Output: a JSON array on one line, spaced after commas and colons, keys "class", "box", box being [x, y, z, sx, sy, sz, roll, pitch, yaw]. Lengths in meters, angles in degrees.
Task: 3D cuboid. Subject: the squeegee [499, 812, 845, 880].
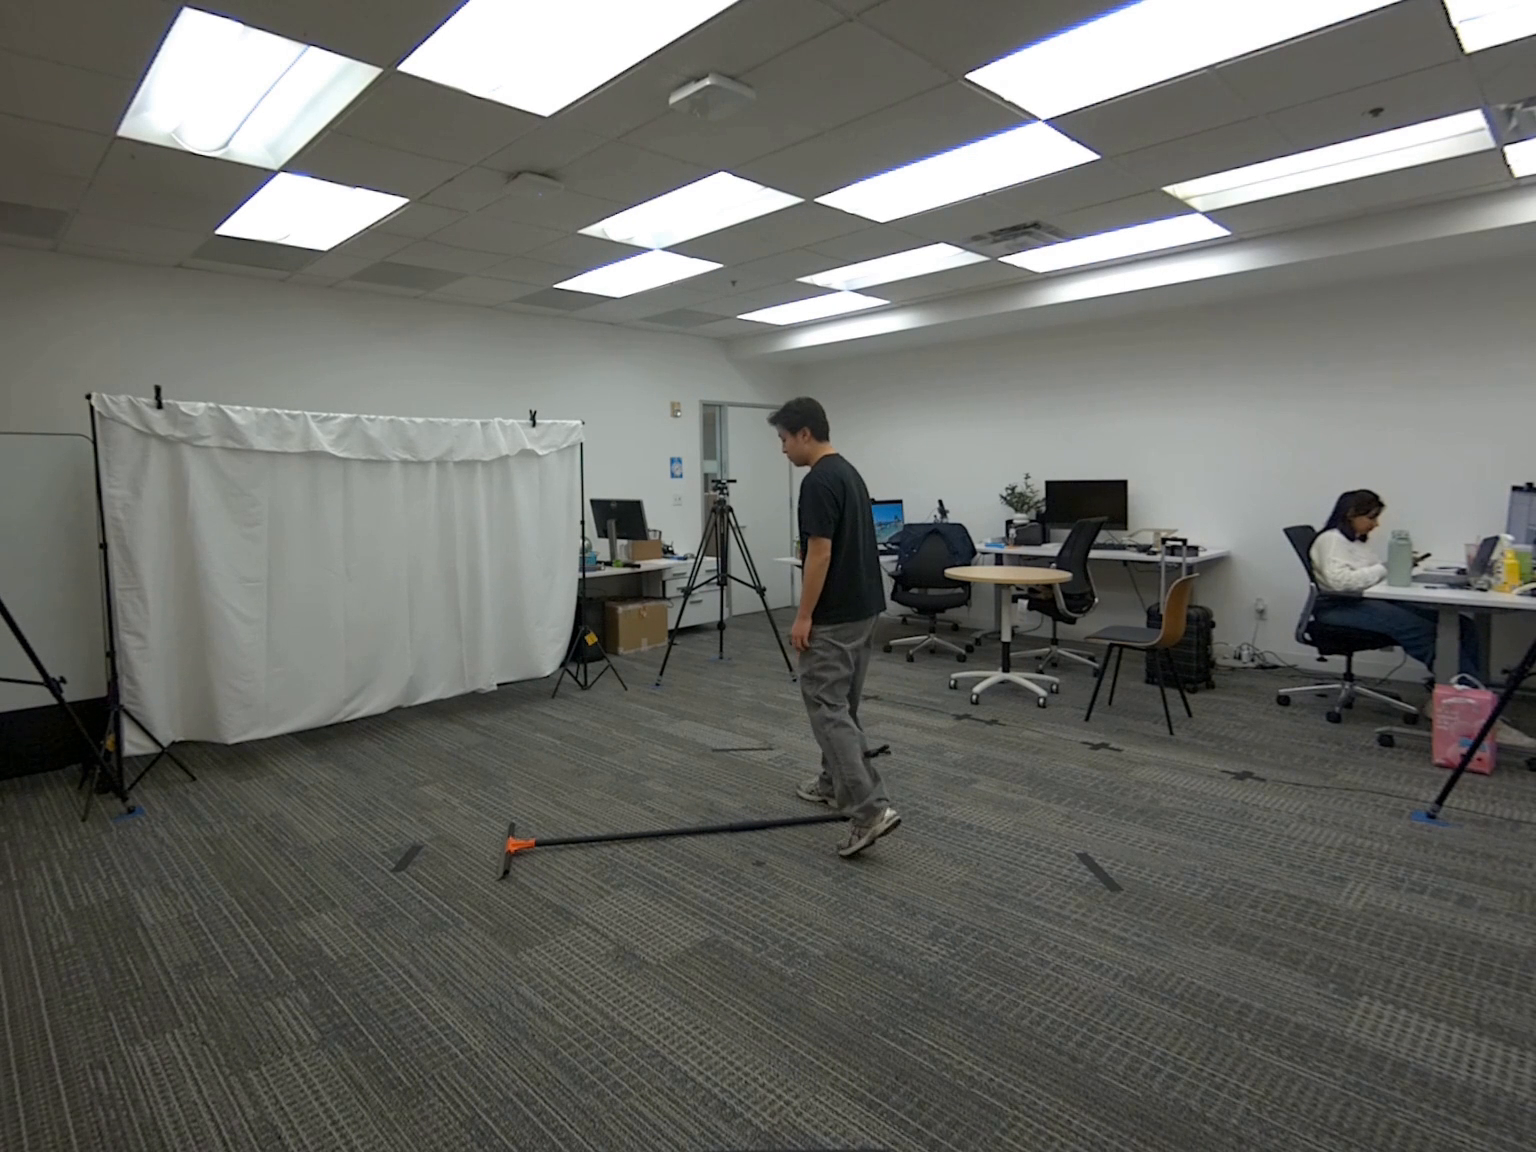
[{"class": "squeegee", "box": [-0.257, 0.970, 3.372, 1.520, 0.053, 0.445, -3, 7, -13]}]
